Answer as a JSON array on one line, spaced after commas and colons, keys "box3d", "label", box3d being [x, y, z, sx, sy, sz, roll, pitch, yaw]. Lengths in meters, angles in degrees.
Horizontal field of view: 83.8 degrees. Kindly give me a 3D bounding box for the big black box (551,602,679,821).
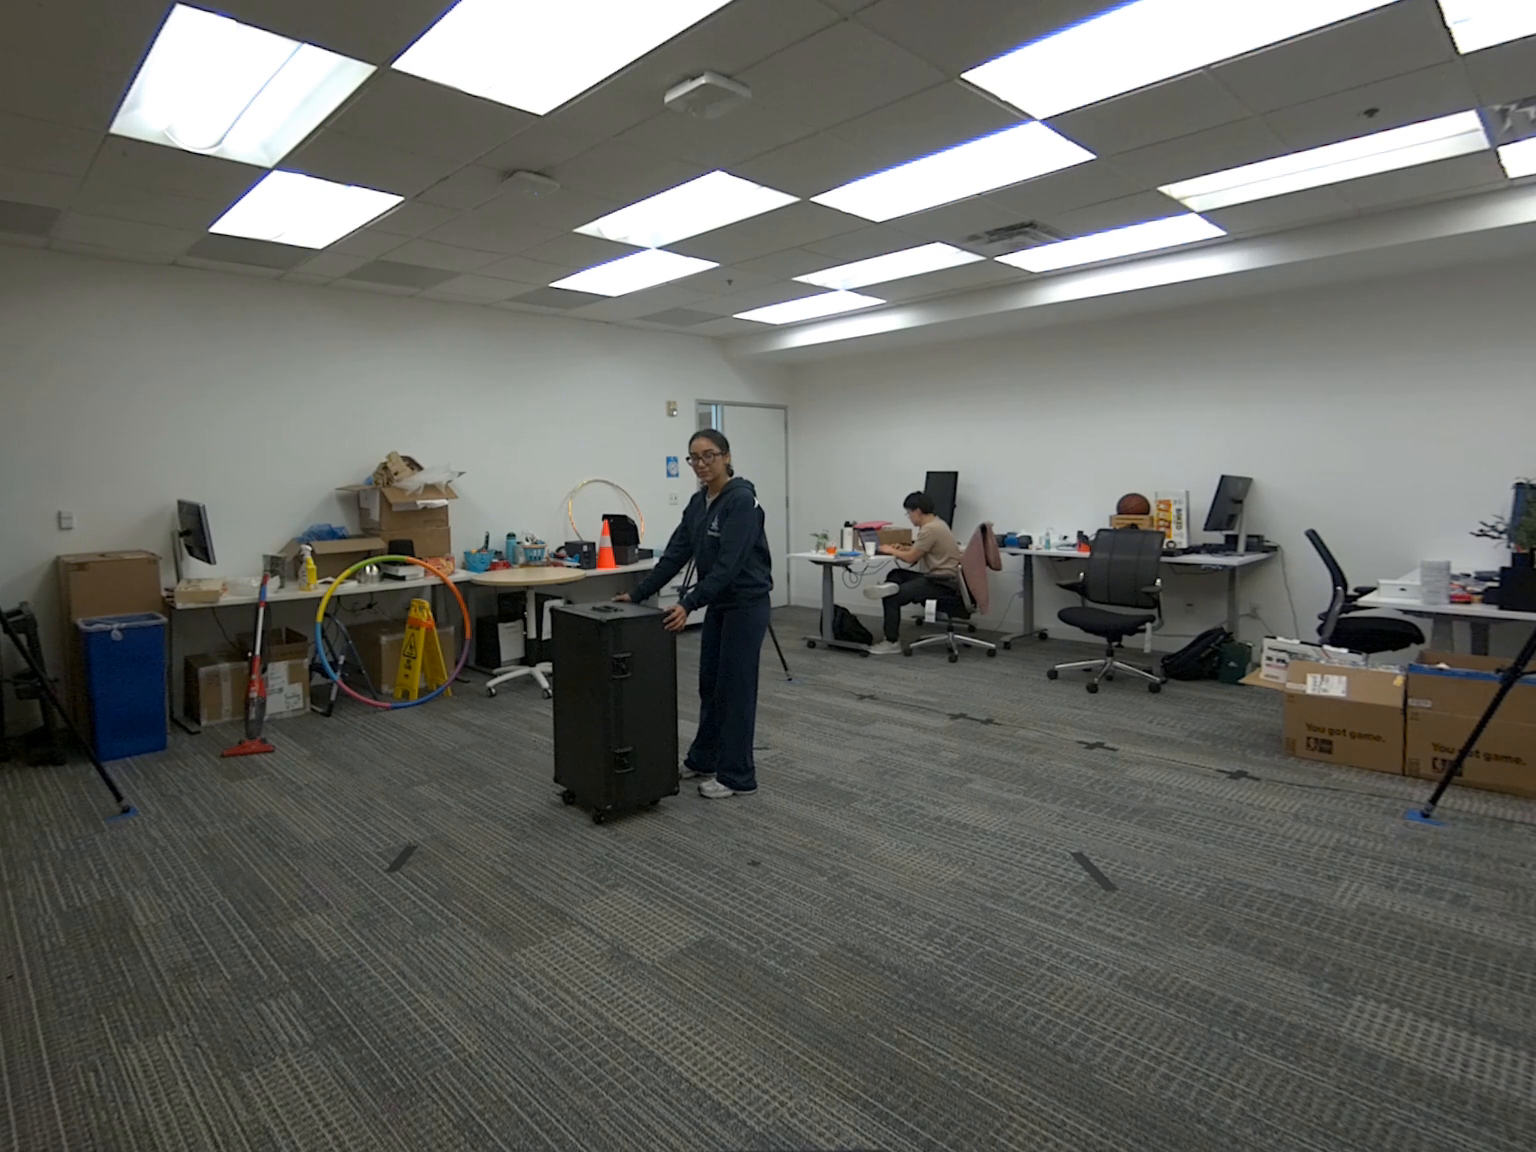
[{"box3d": [-0.666, 0.567, 3.701, 0.385, 0.860, 0.537, -2, 3, -38], "label": "big black box"}]
